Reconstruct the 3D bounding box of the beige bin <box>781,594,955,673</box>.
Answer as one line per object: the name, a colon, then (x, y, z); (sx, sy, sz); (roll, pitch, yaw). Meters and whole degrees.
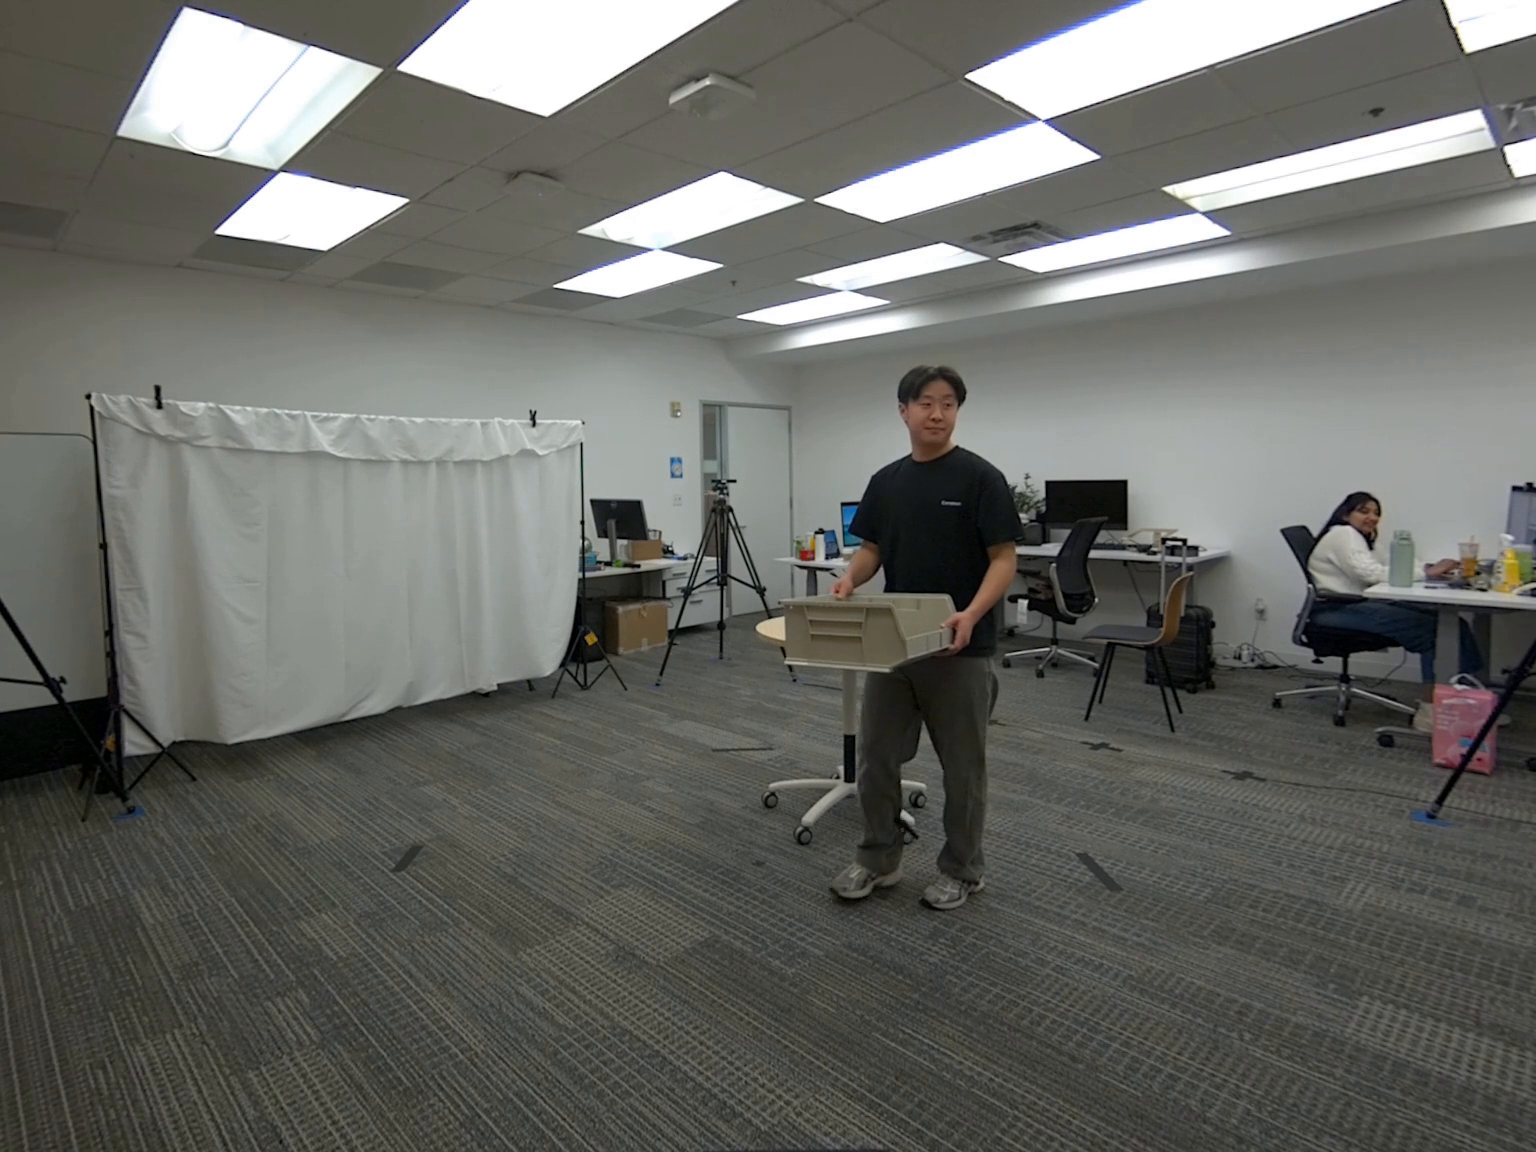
beige bin: (0.300, 0.154, 2.440); (0.387, 0.189, 0.411); (-2, 2, 35)
